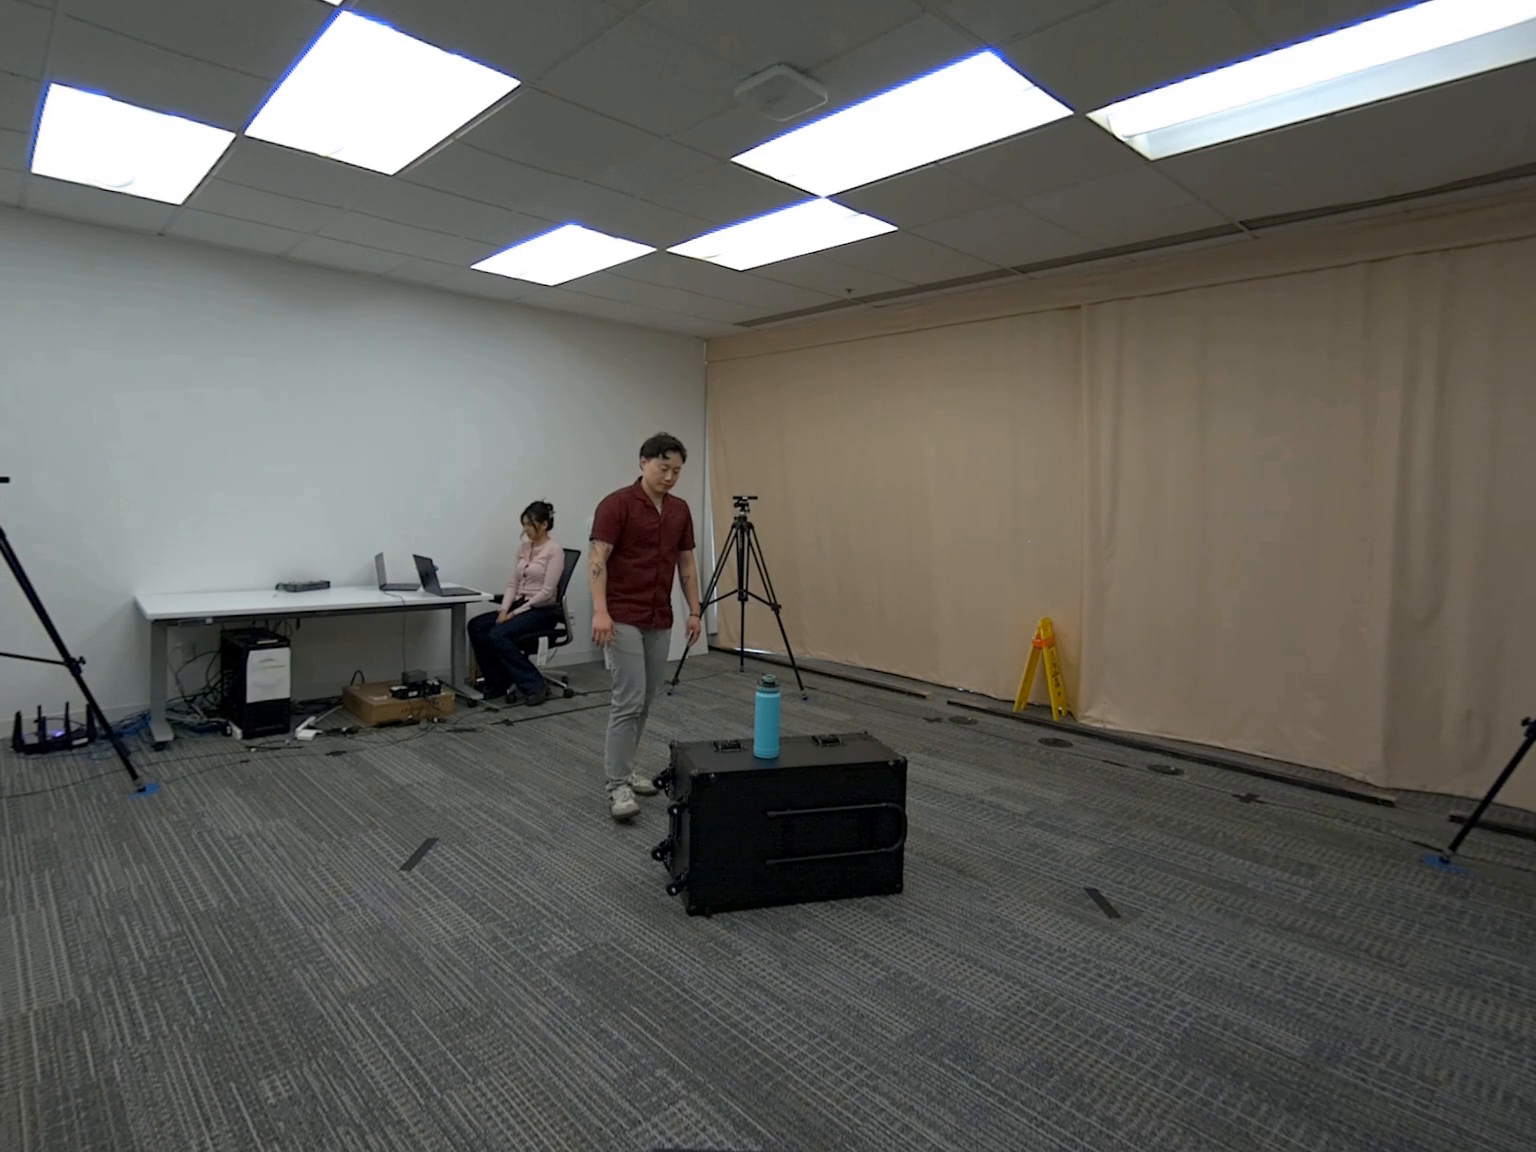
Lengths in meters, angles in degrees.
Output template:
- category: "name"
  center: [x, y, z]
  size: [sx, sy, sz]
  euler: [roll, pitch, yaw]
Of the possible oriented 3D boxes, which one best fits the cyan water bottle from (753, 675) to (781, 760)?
- category: "cyan water bottle"
  center: [-0.010, 0.492, 2.975]
  size: [0.092, 0.283, 0.092]
  euler: [0, 2, -1]
